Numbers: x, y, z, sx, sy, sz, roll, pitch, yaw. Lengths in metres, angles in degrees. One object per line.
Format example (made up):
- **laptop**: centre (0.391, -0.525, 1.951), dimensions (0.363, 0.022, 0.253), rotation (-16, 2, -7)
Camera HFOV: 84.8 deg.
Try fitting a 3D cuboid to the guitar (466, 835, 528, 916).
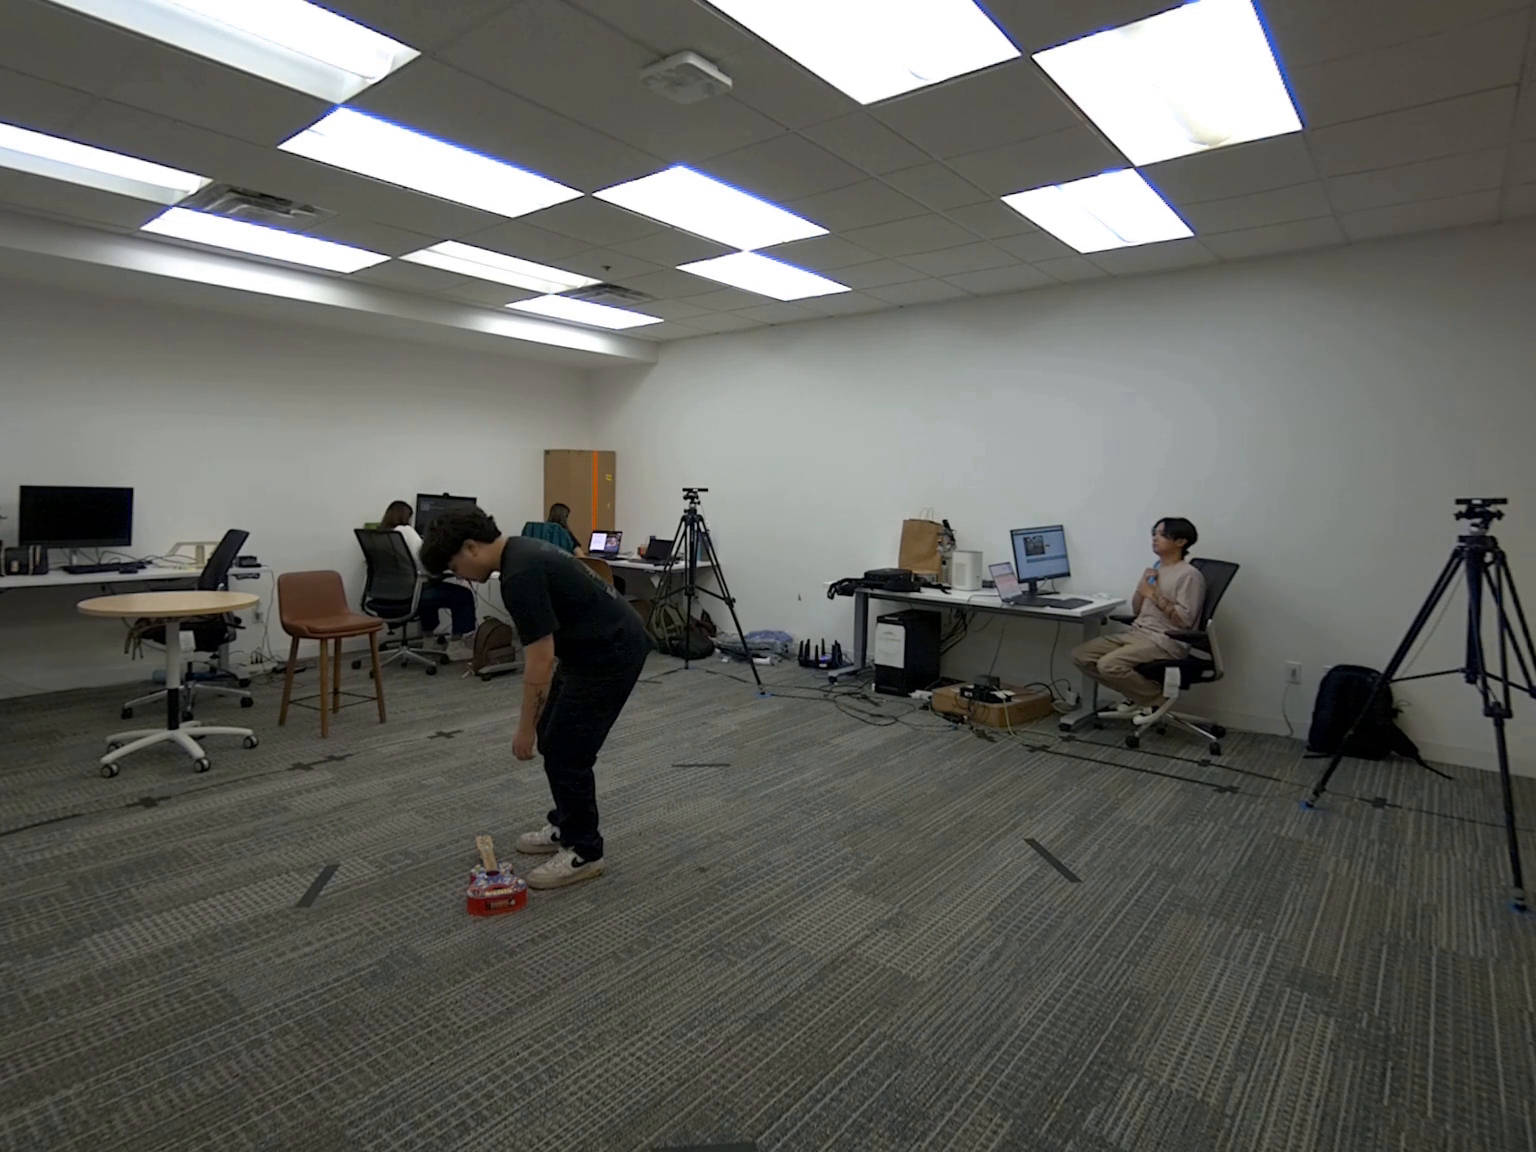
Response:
- **guitar**: centre (-0.960, 1.034, 2.992), dimensions (0.190, 0.070, 0.508), rotation (-2, 7, -16)
